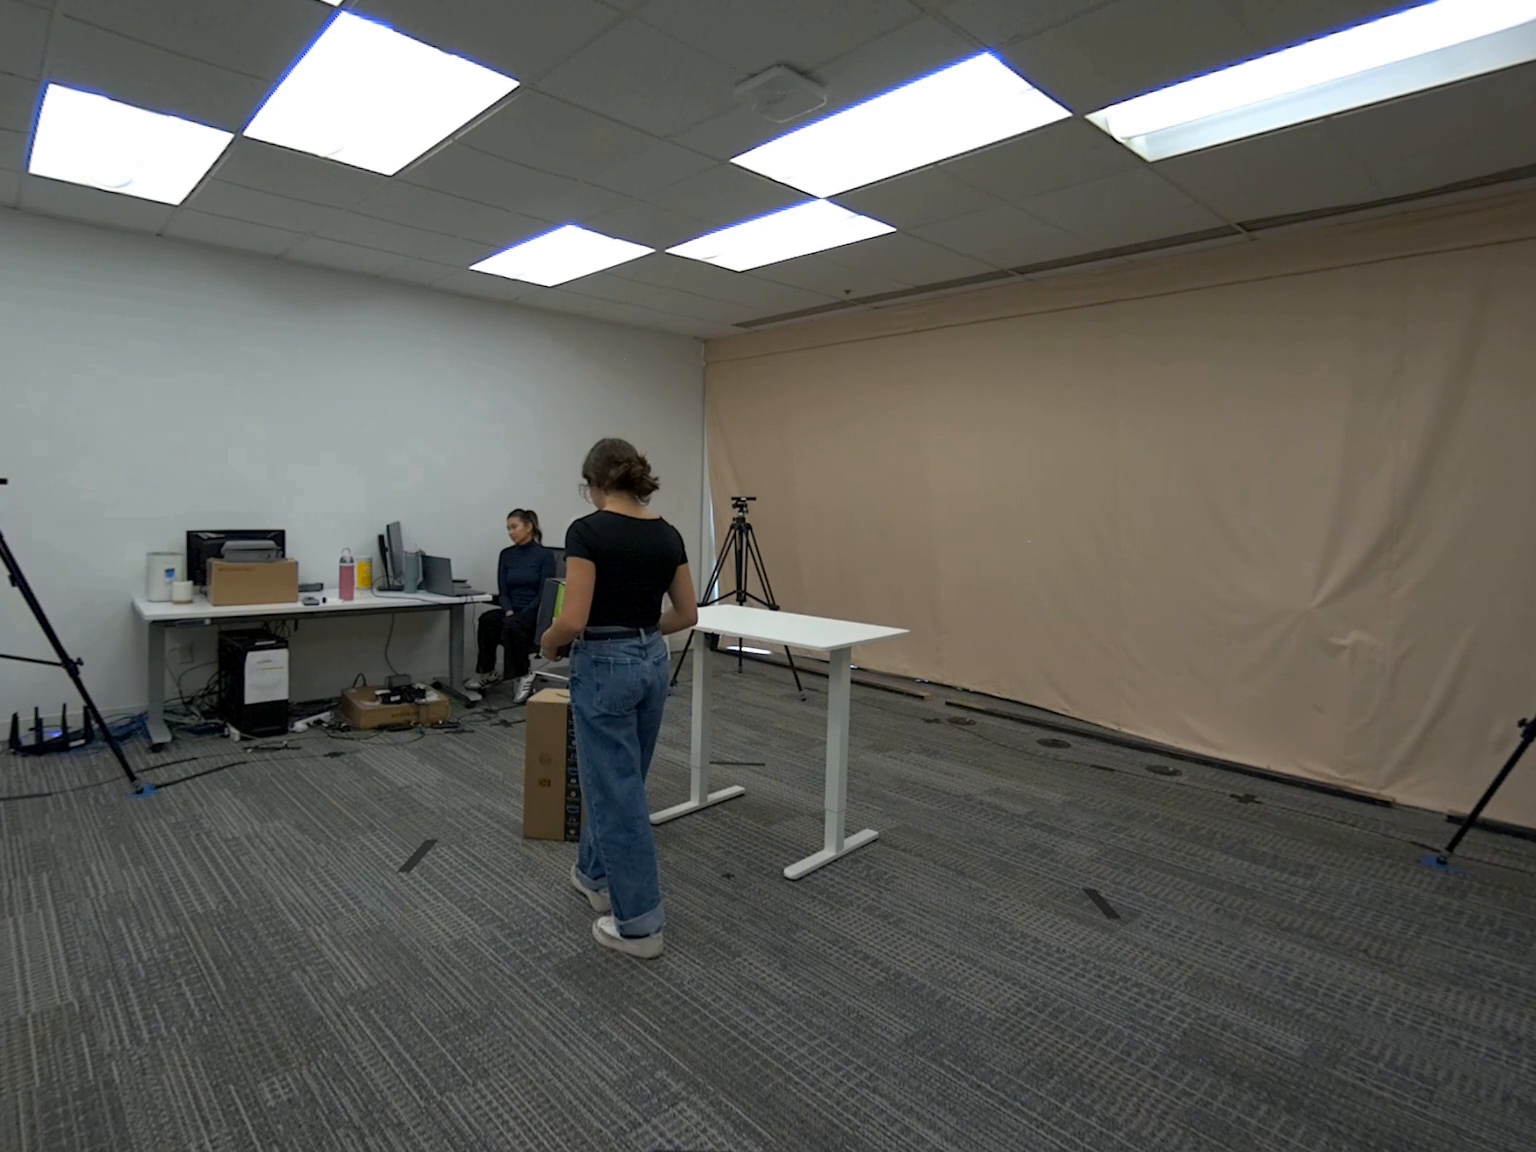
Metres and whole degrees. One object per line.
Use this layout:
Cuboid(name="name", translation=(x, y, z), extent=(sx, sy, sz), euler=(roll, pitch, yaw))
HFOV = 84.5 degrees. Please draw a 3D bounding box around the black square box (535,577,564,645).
Cuboid(name="black square box", translation=(-0.621, 0.129, 2.796), extent=(0.160, 0.227, 0.212), euler=(13, 7, 35))
